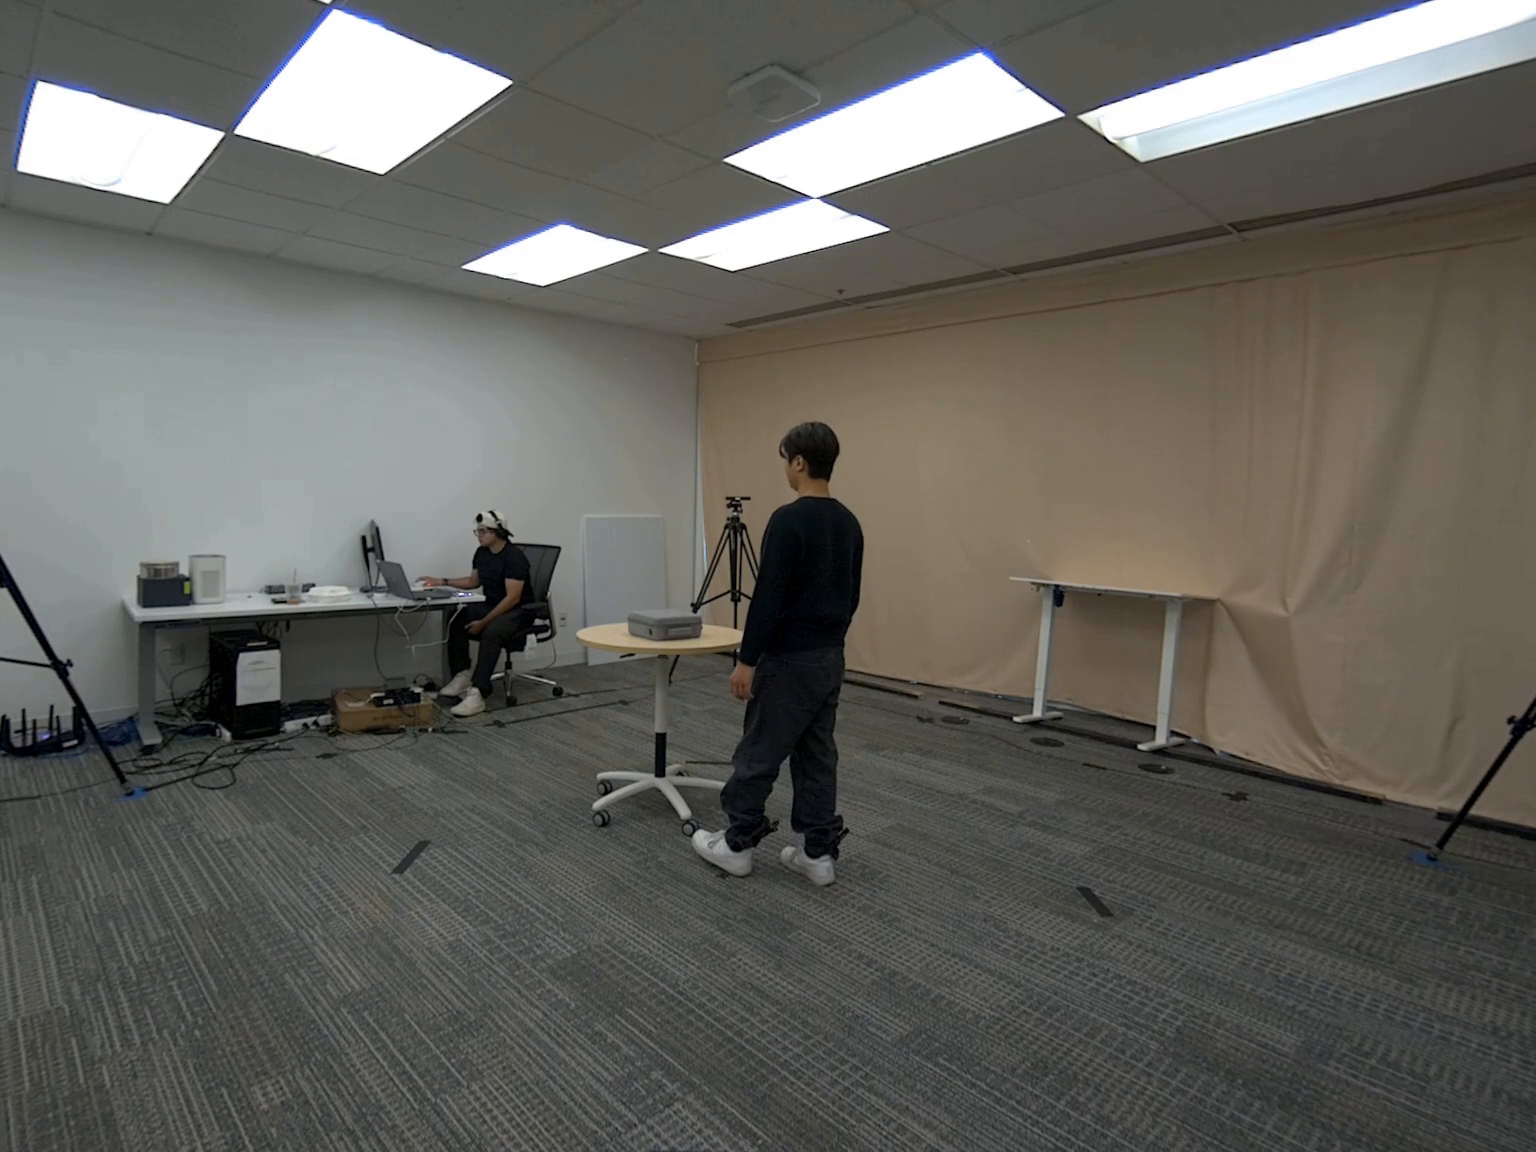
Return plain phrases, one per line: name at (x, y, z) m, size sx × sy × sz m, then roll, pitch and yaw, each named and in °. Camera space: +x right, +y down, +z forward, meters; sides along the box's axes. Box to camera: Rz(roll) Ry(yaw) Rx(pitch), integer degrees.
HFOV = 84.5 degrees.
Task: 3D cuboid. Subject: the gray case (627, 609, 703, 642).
gray case at (-0.458, 0.209, 3.696) m, size 0.251 × 0.104 × 0.267 m, roll 0°, pitch 5°, yaw -38°
